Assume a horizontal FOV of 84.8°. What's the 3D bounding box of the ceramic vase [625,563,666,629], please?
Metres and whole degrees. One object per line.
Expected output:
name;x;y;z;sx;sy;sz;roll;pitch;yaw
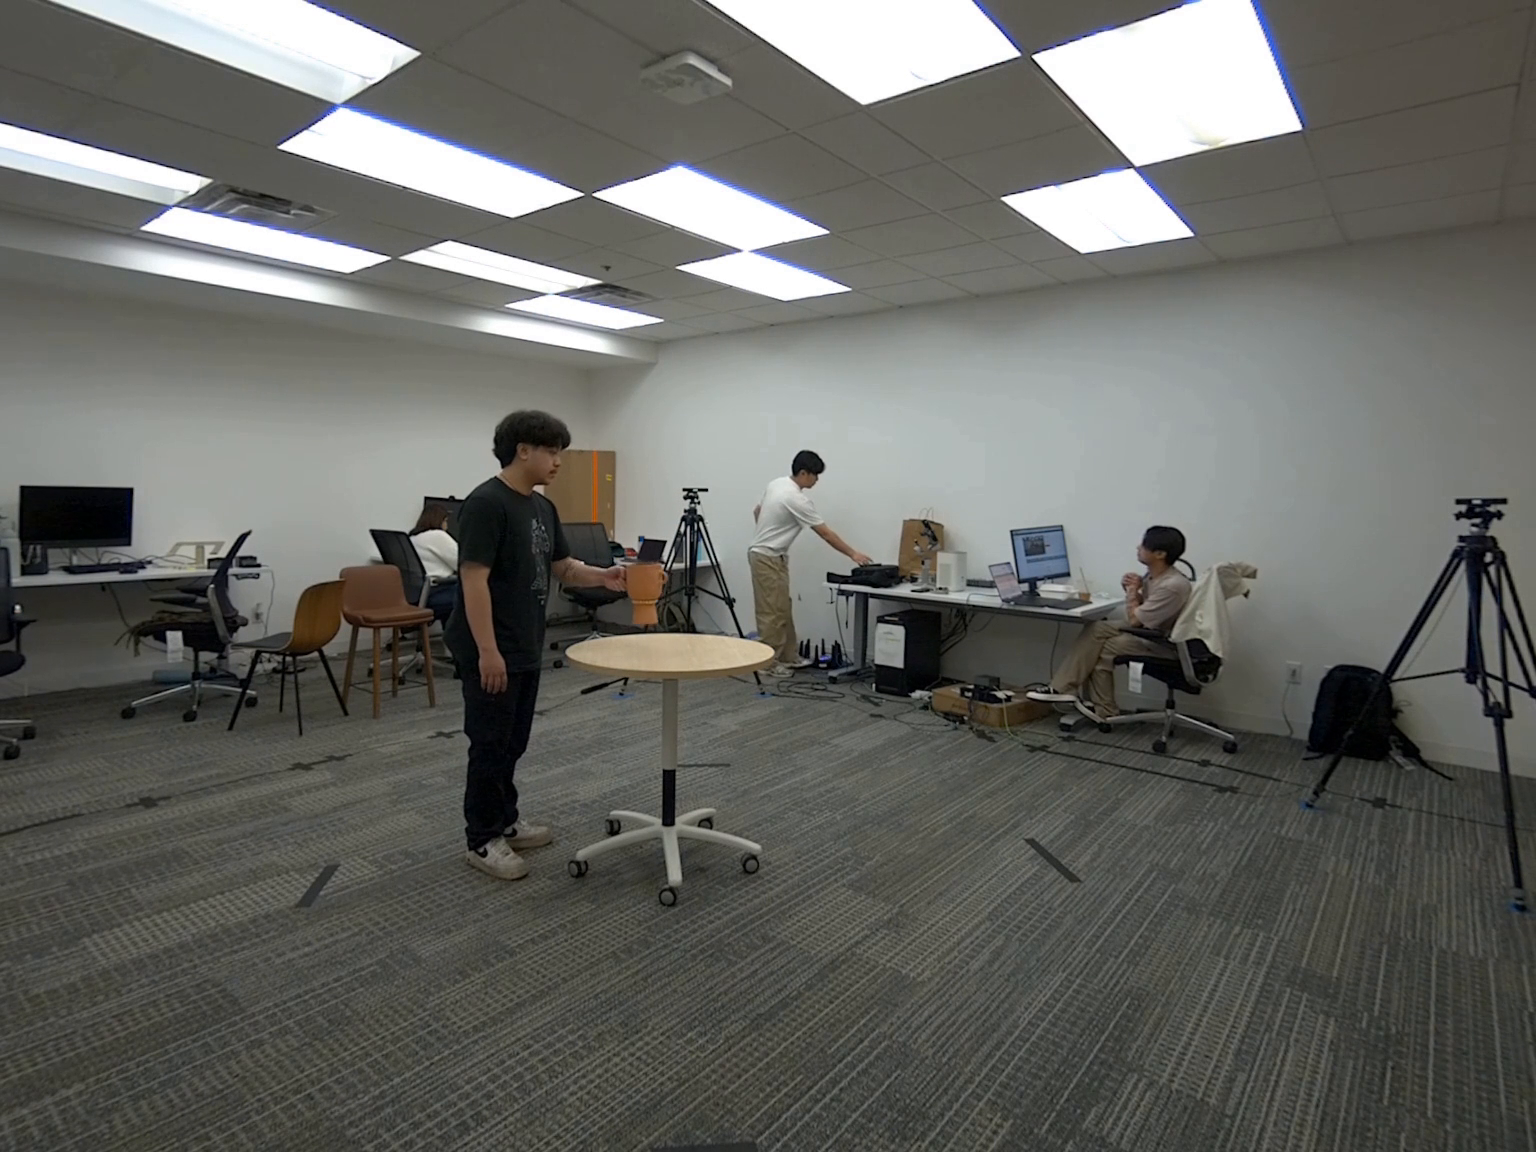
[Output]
ceramic vase;-0.481;0.072;3.188;0.131;0.219;0.163;-2;3;-27
